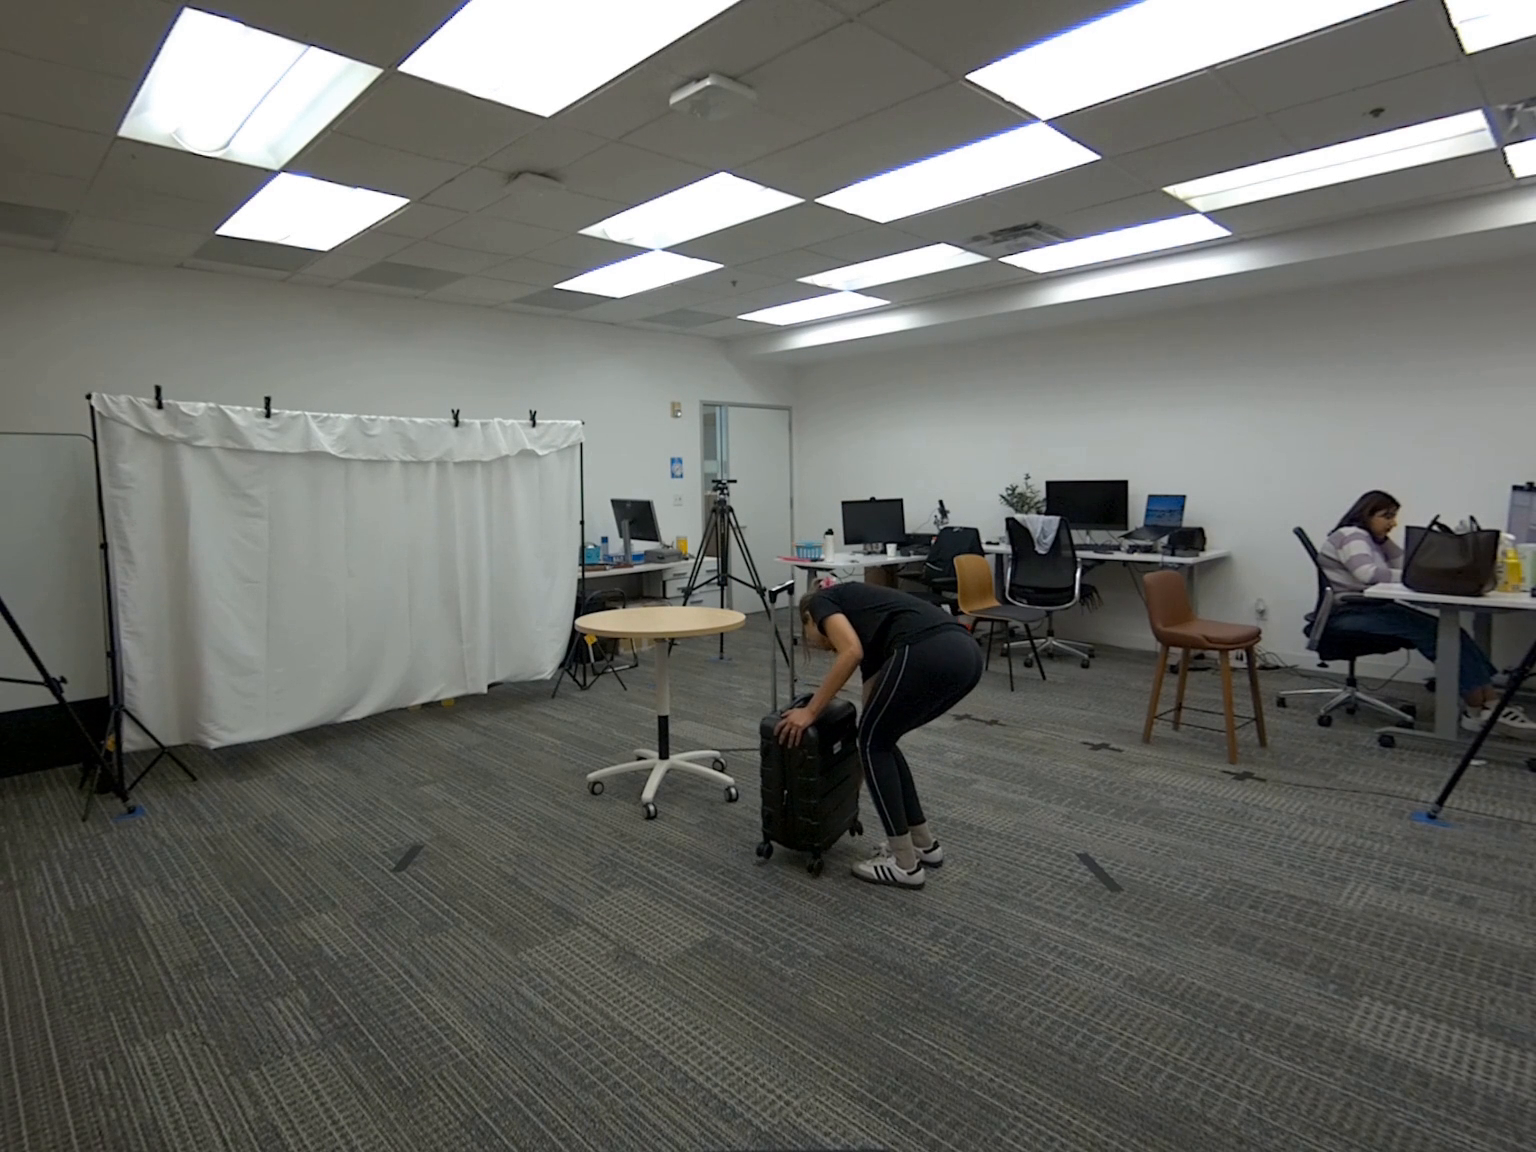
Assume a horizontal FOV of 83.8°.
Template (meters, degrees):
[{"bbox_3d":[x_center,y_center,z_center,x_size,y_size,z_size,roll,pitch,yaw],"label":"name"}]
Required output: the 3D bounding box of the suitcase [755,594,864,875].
[{"bbox_3d":[0.157,0.525,3.112,0.264,0.970,0.376,5,11,33],"label":"suitcase"}]
